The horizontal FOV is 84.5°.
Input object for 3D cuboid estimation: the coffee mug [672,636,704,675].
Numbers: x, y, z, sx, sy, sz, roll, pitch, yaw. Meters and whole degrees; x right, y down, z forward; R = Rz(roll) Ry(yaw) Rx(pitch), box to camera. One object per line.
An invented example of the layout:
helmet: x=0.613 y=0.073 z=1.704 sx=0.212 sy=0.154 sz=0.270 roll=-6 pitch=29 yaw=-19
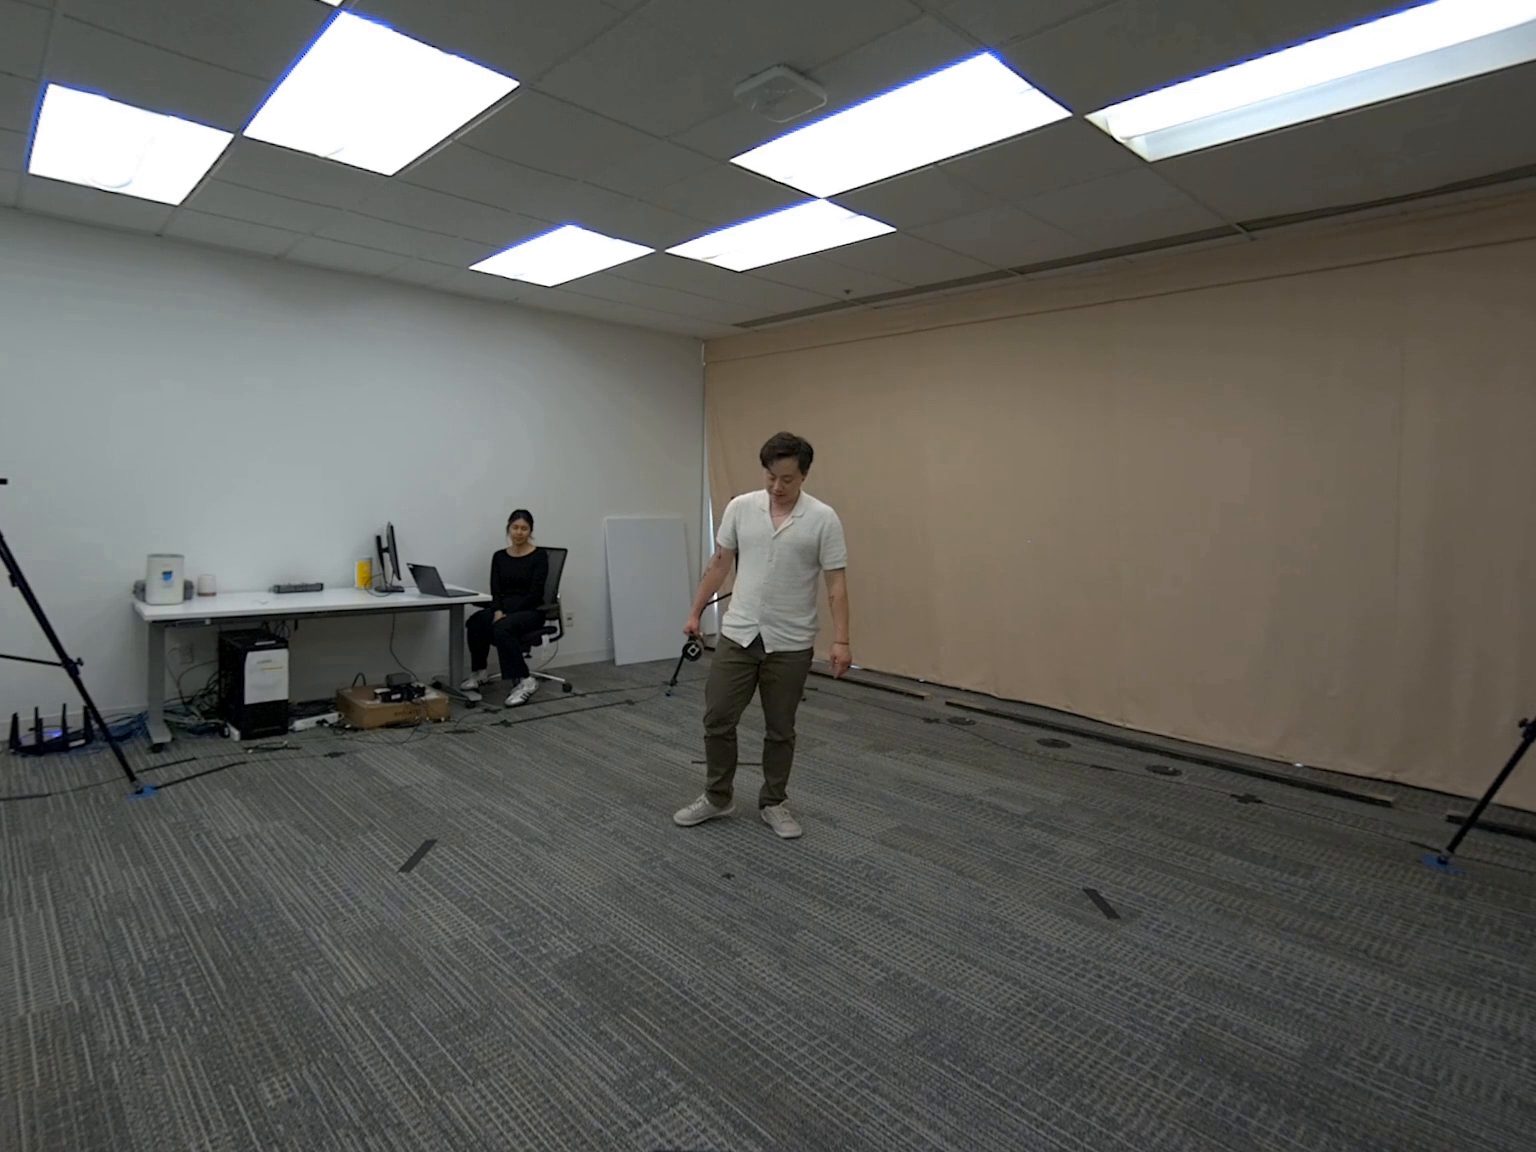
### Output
coffee mug: x=-0.316 y=0.292 z=3.698 sx=0.088 sy=0.122 sz=0.203 roll=37 pitch=16 yaw=-1
